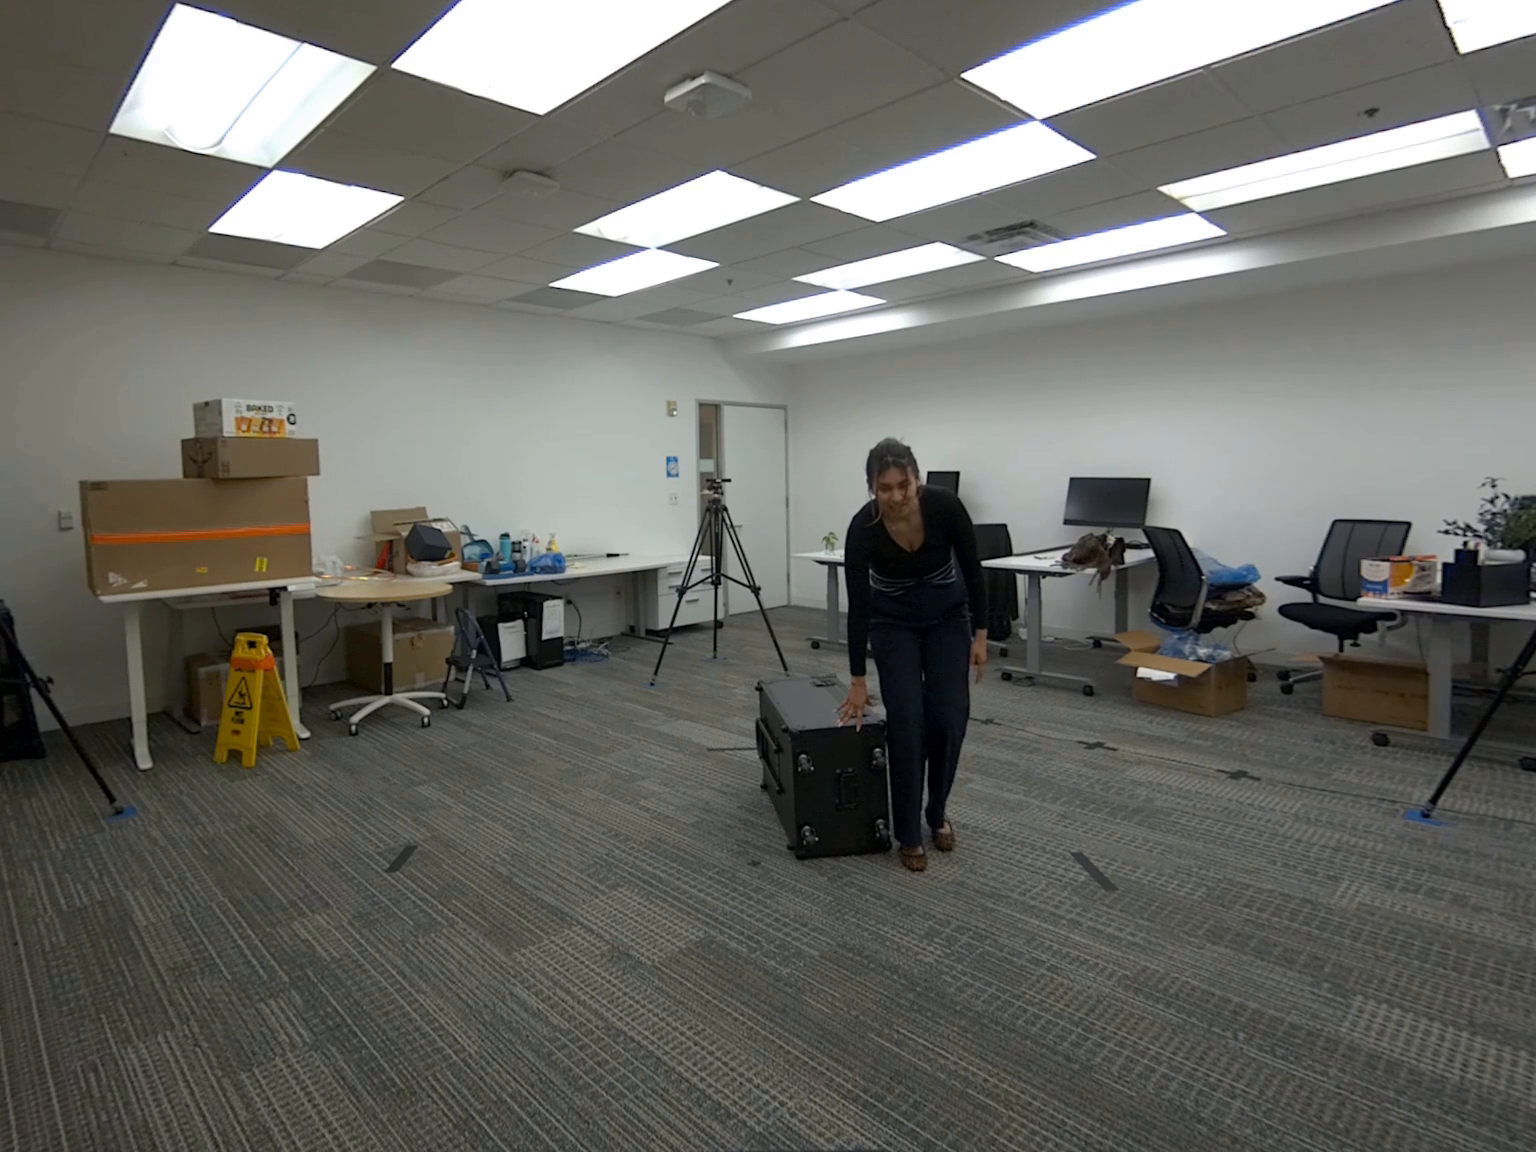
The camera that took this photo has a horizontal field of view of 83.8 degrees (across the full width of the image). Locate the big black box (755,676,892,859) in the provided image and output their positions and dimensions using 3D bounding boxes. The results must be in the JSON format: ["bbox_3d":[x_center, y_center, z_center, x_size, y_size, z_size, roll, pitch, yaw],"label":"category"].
[{"bbox_3d":[0.195,0.744,3.478,0.393,0.519,0.872,-4,6,-9],"label":"big black box"}]
